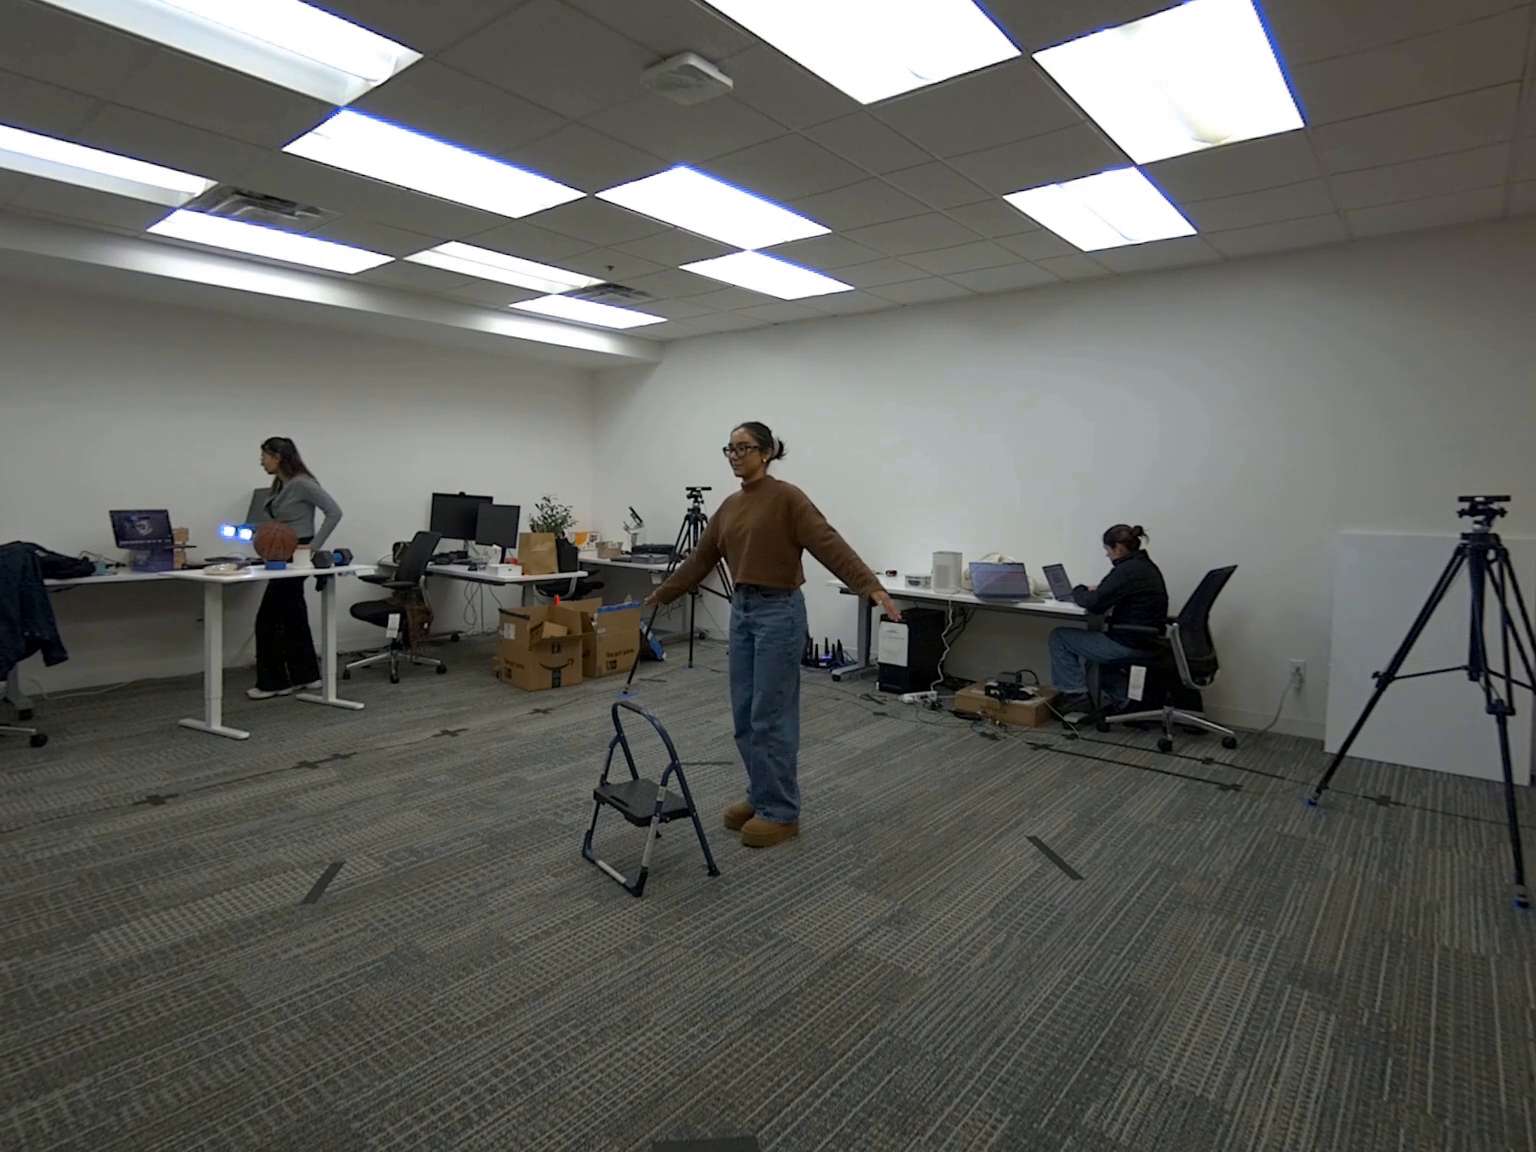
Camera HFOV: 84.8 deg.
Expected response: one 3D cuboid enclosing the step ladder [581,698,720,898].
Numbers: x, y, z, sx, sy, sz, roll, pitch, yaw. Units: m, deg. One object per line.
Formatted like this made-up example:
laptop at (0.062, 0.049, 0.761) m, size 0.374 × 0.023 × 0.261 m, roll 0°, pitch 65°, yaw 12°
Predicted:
step ladder at (-0.445, 0.756, 3.116) m, size 0.339 × 0.604 × 0.445 m, roll -2°, pitch 5°, yaw -39°
